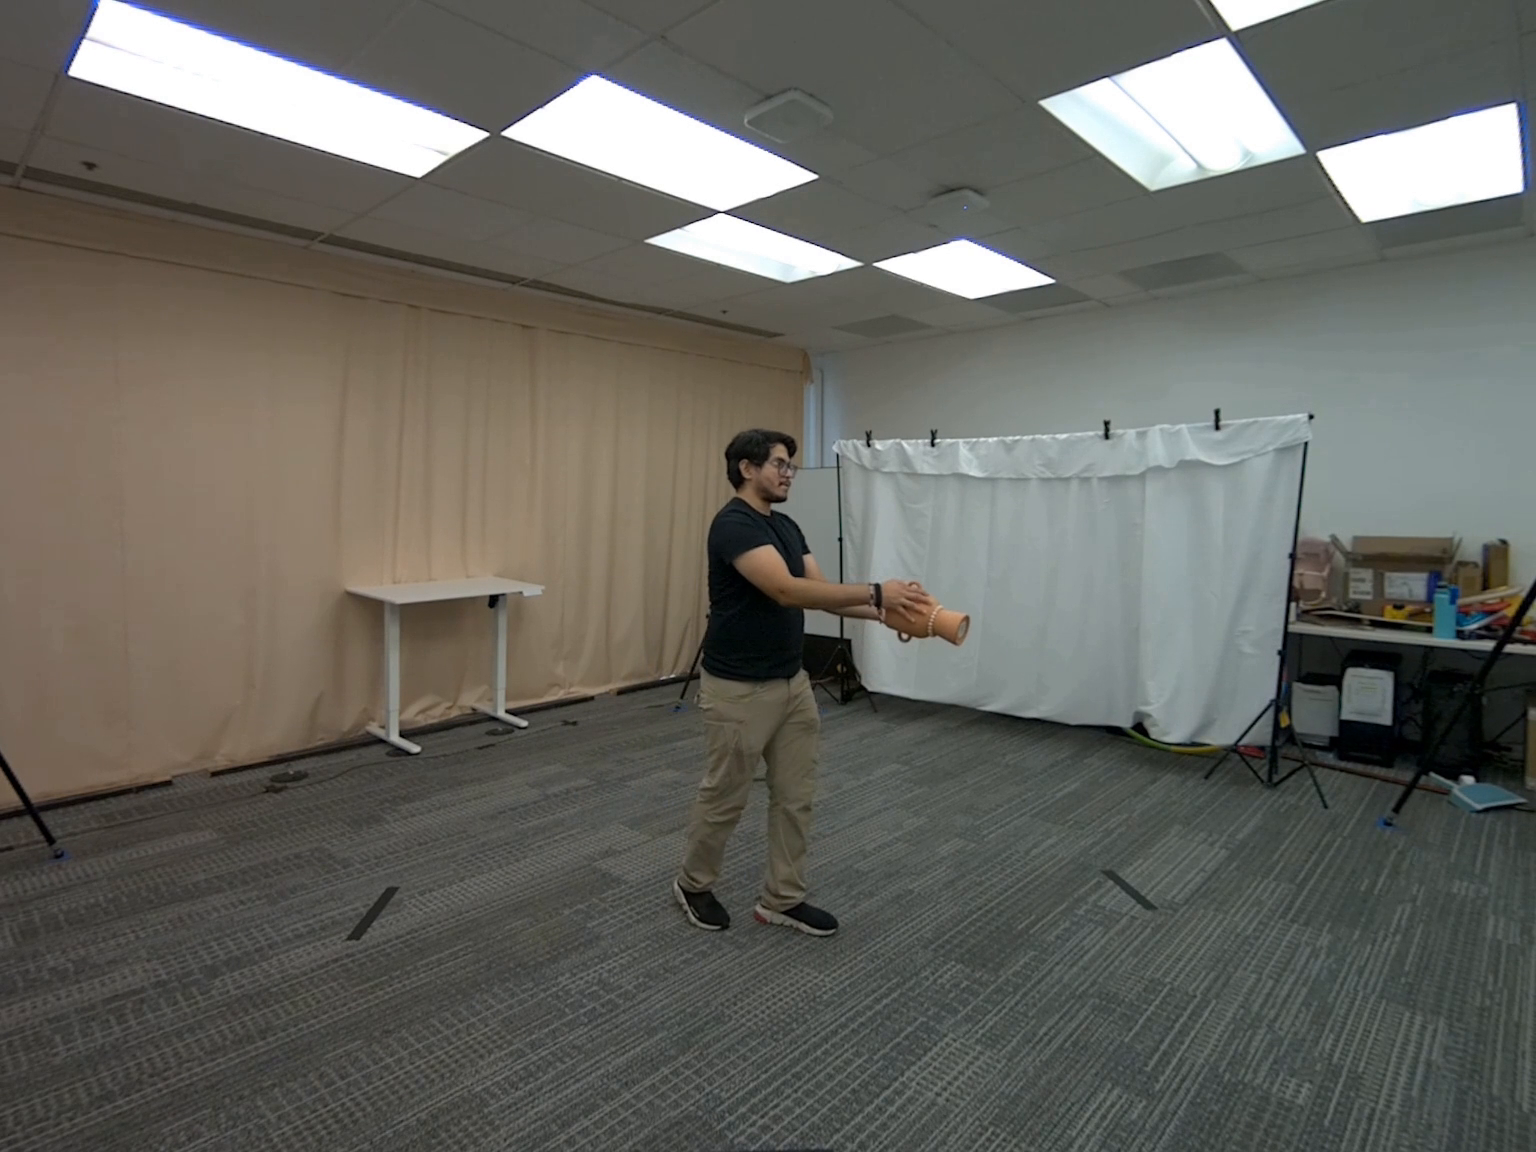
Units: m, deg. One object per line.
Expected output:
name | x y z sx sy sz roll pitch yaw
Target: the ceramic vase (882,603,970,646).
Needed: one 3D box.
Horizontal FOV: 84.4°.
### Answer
ceramic vase | 0.484 0.122 2.499 0.227 0.134 0.154 18 -28 30
